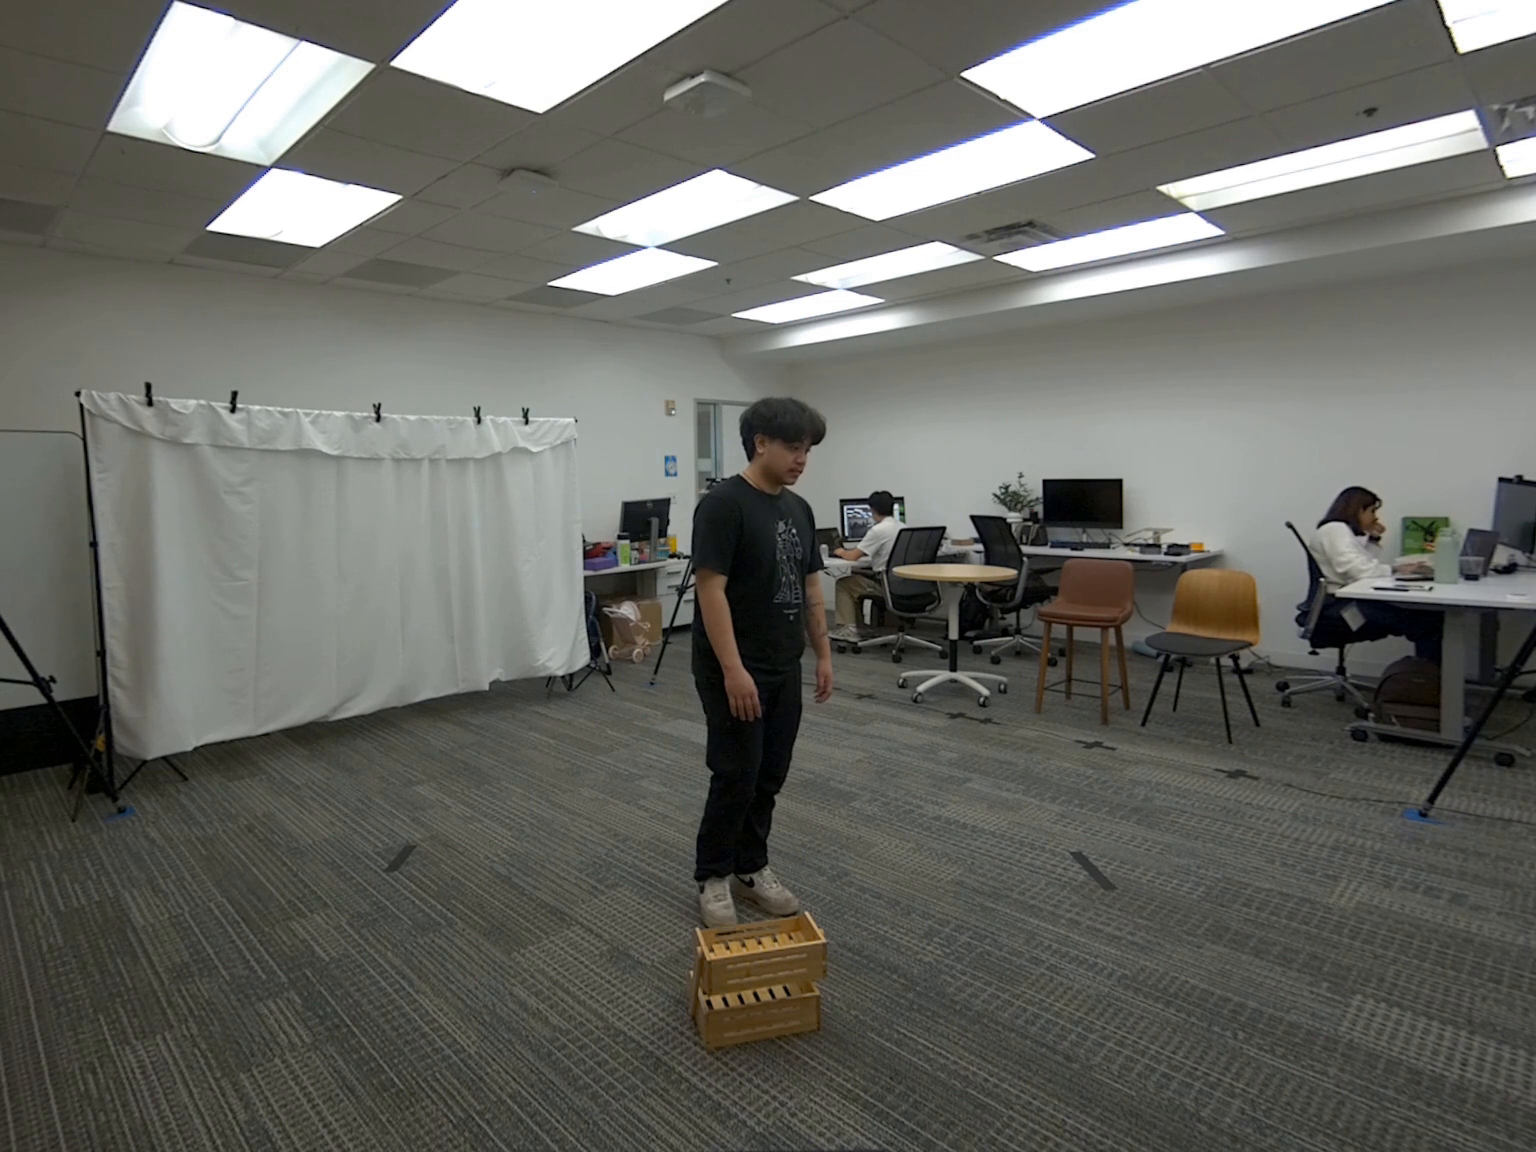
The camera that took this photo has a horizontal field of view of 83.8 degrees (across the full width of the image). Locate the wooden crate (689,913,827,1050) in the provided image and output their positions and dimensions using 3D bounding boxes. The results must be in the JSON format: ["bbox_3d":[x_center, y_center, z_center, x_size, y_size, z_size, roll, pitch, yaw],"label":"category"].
[{"bbox_3d":[-0.035,1.018,2.218,0.320,0.272,0.308,-3,7,-14],"label":"wooden crate"}]
